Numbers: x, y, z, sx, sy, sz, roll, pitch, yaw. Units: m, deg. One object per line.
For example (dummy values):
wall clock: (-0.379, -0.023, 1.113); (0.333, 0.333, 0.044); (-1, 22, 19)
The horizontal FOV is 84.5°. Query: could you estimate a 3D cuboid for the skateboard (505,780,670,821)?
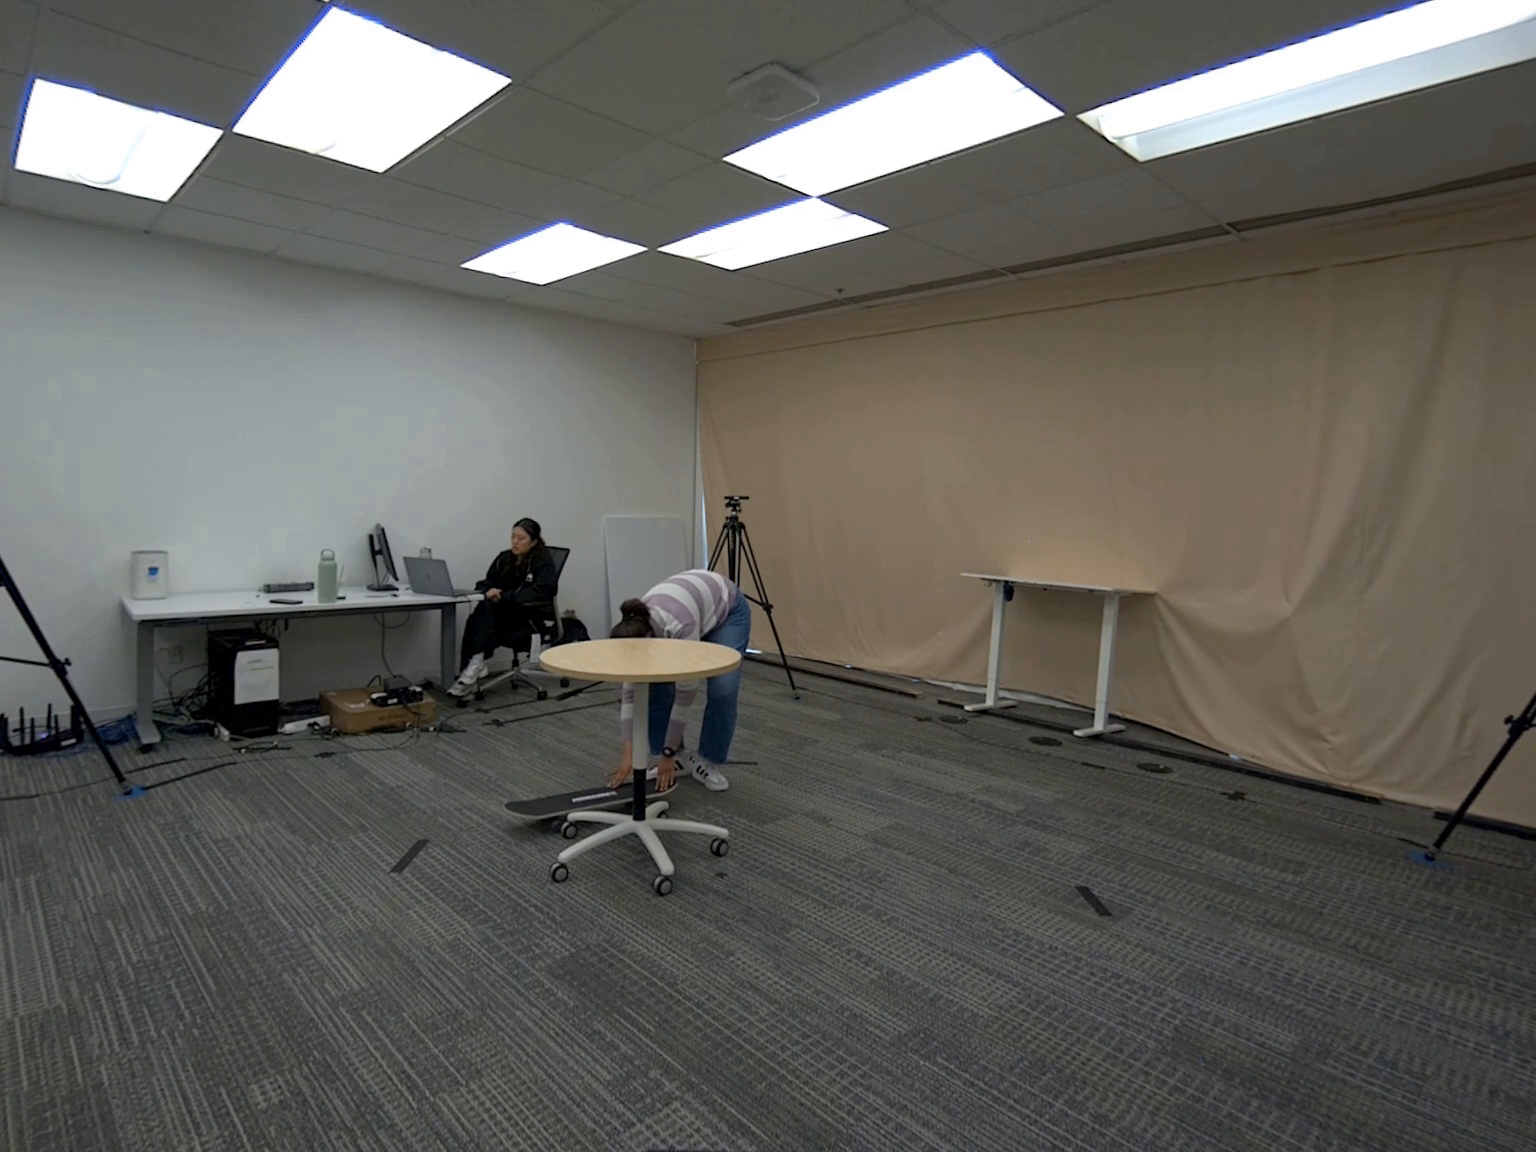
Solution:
skateboard: (-0.756, 0.982, 3.627); (0.768, 0.110, 0.198); (-1, 5, -35)
